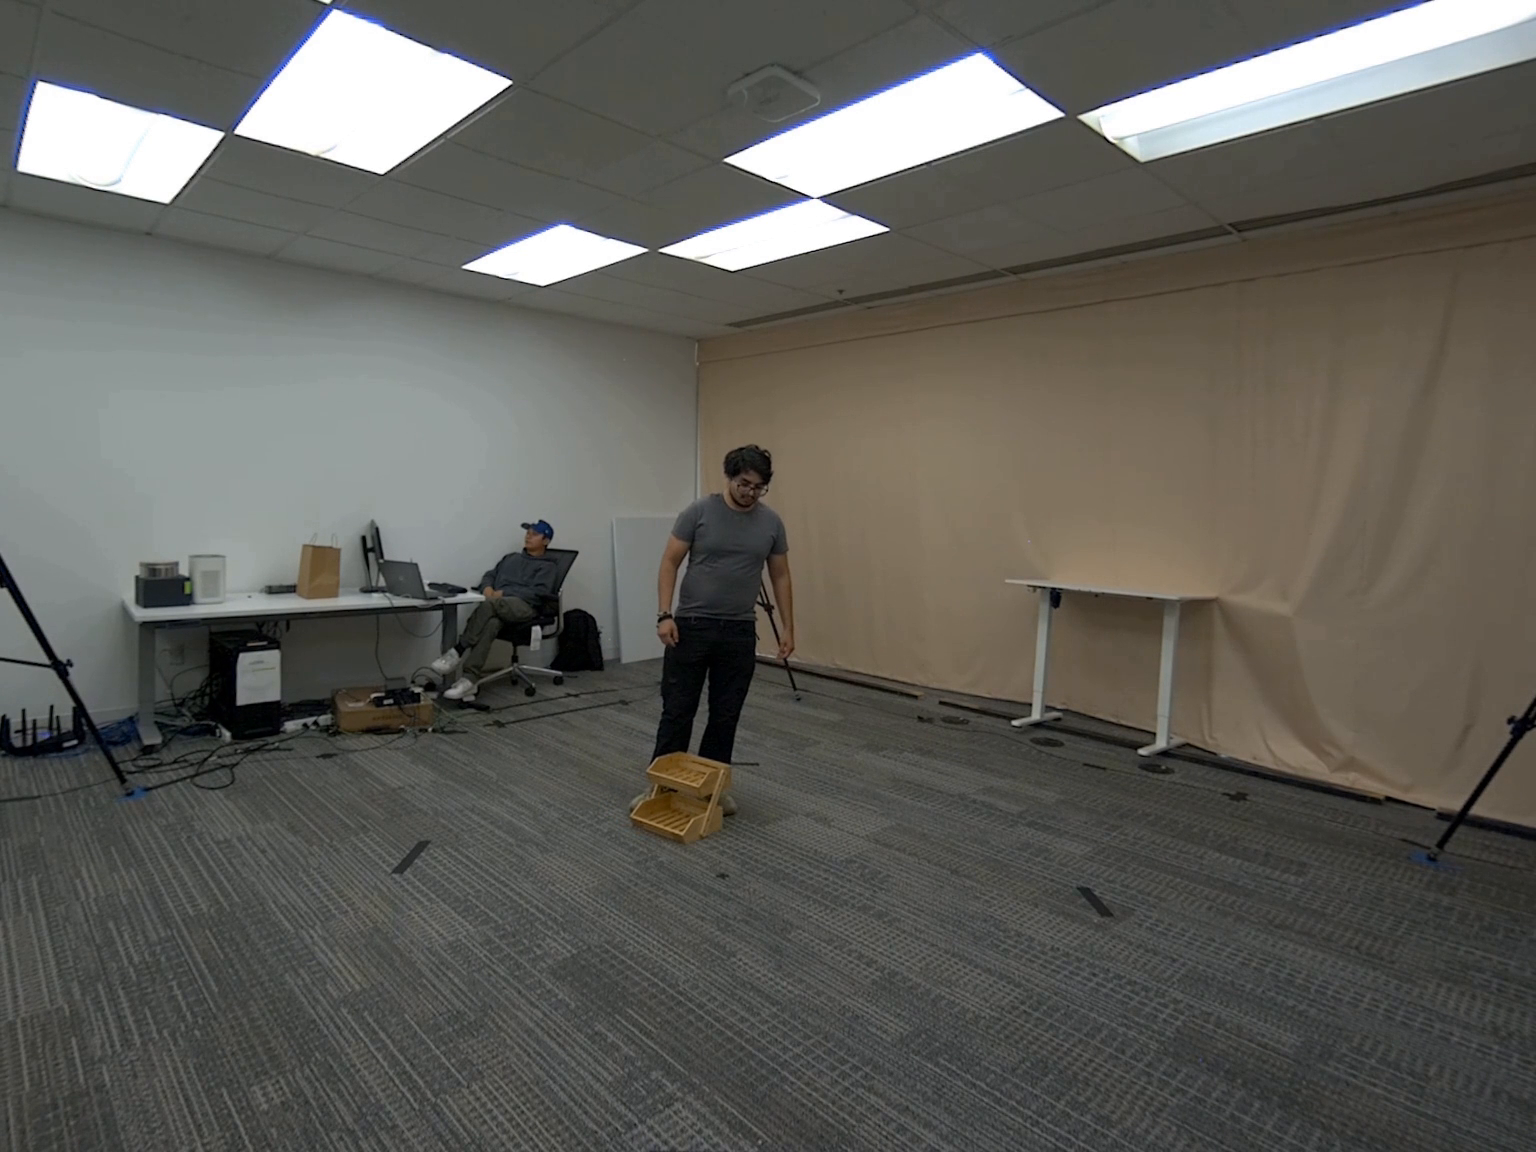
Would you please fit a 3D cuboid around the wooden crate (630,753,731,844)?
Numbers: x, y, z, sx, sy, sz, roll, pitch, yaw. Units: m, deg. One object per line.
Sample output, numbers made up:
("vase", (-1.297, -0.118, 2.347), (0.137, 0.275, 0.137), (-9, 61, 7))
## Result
("wooden crate", (-0.384, 0.931, 3.559), (0.332, 0.273, 0.295), (5, 4, 38))
